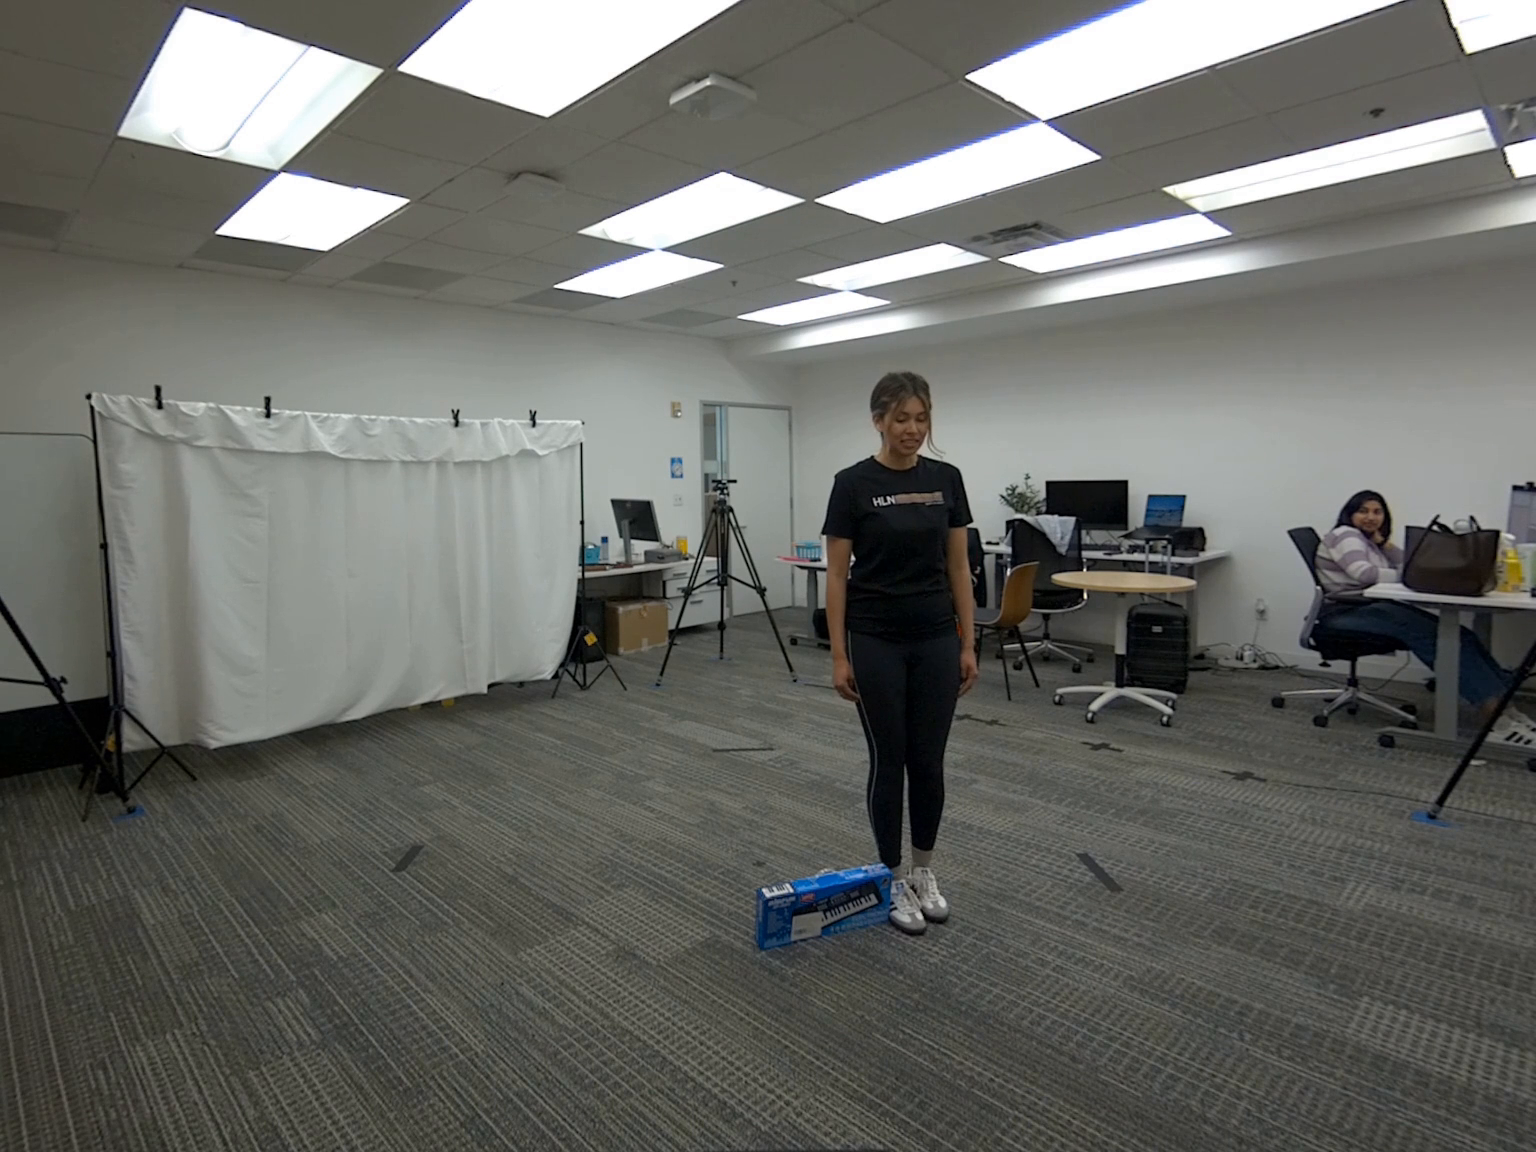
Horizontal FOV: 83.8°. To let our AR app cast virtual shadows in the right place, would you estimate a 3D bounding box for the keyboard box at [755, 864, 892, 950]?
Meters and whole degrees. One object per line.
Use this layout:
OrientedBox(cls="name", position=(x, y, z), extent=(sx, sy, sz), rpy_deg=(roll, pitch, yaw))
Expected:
OrientedBox(cls="keyboard box", position=(0.180, 1.012, 2.620), extent=(0.429, 0.174, 0.061), rpy_deg=(-3, 13, -21))
